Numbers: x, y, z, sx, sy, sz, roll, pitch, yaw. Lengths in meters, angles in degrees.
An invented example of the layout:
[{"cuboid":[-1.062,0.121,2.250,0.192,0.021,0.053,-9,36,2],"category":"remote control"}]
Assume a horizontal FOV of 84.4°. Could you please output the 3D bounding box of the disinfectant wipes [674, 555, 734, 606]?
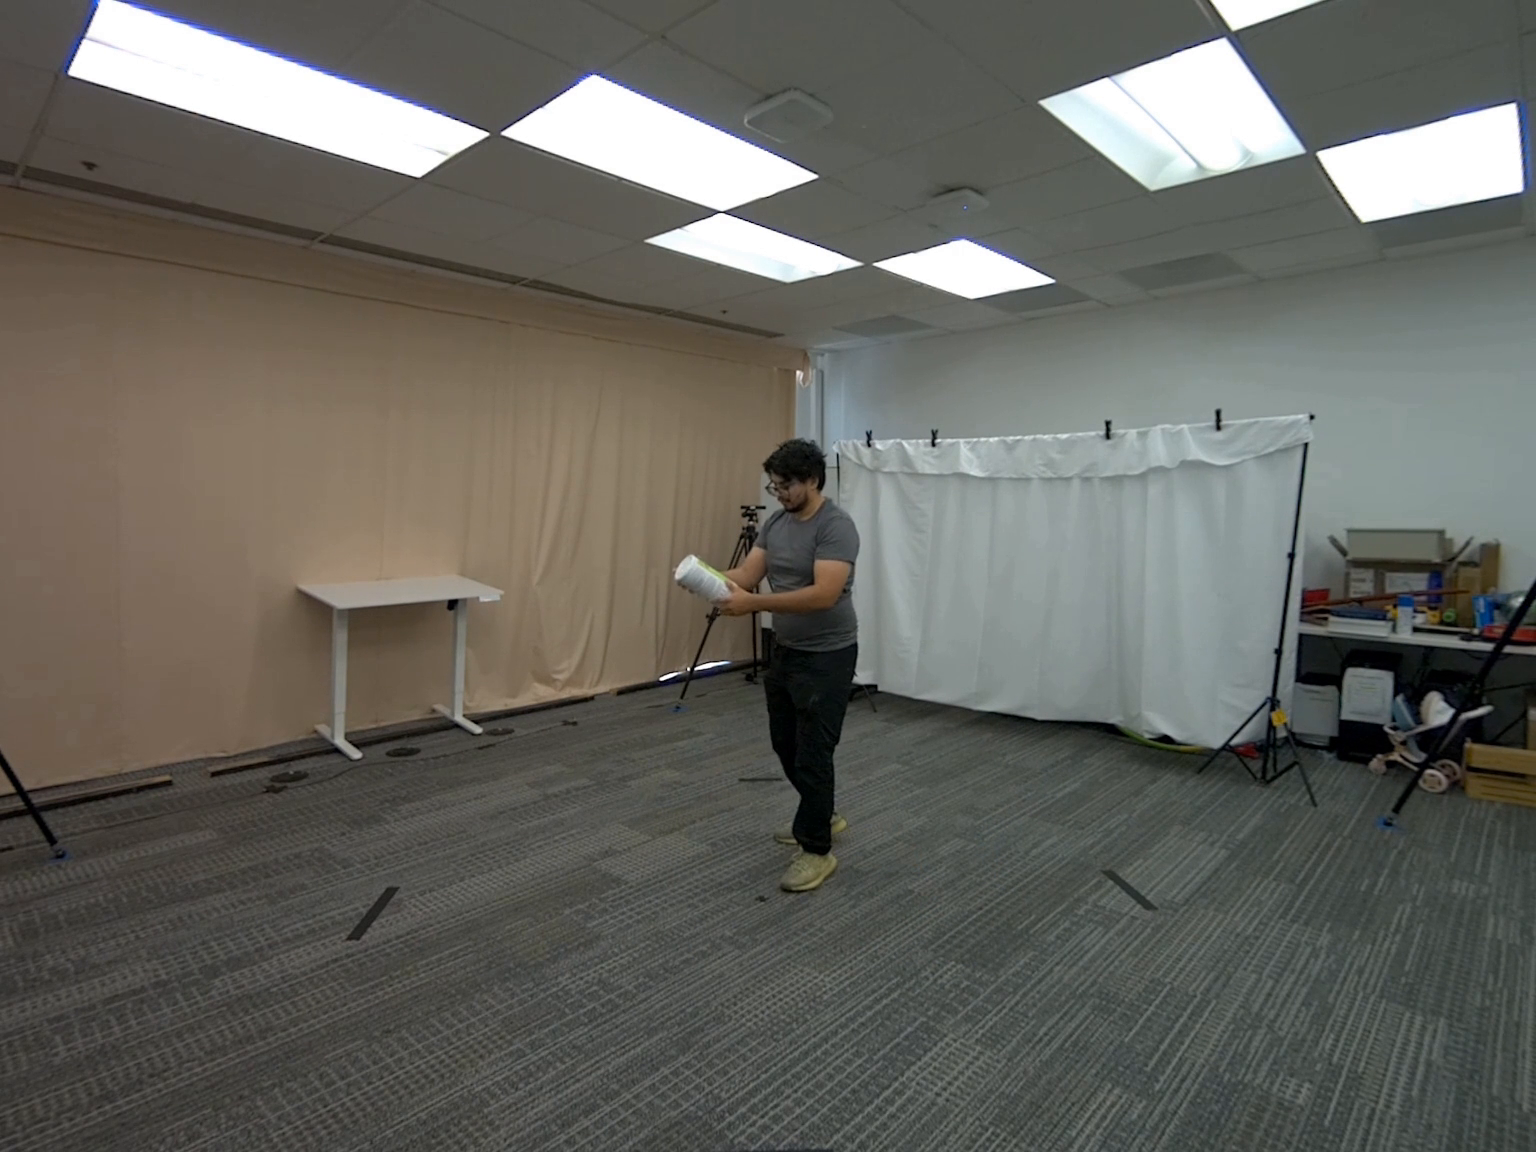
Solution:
[{"cuboid":[-0.216,0.031,3.028,0.215,0.118,0.119,35,-2,-8],"category":"disinfectant wipes"}]
